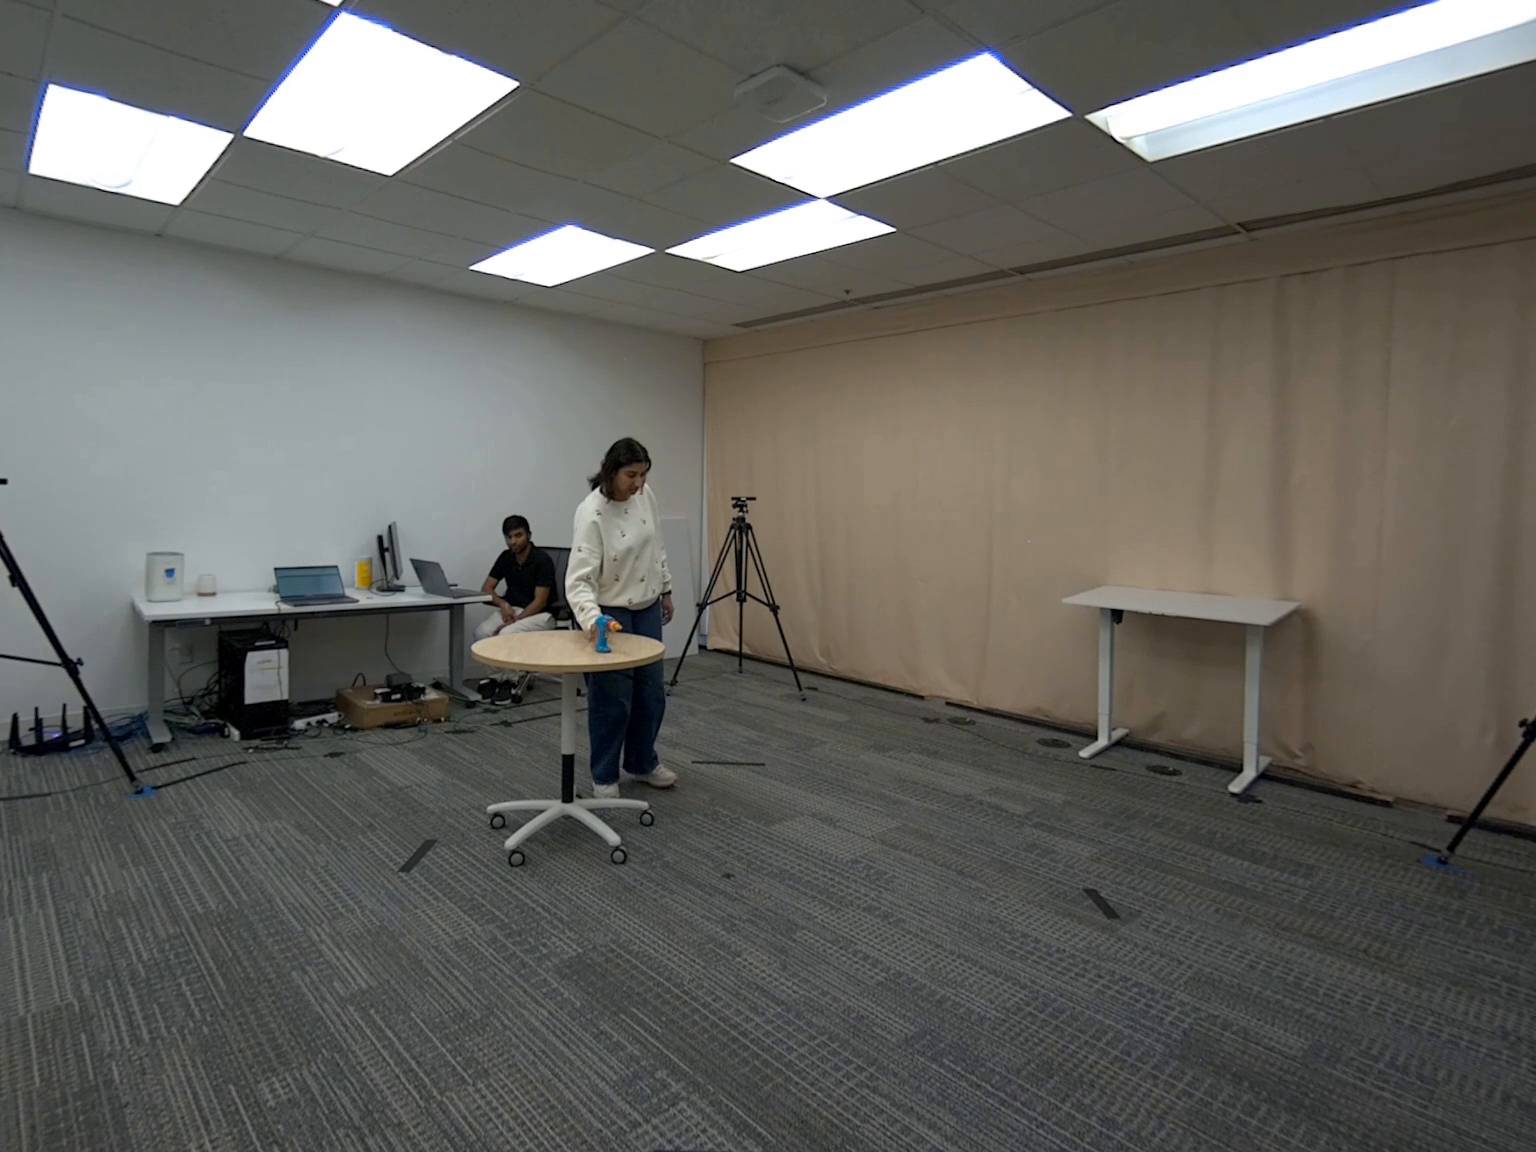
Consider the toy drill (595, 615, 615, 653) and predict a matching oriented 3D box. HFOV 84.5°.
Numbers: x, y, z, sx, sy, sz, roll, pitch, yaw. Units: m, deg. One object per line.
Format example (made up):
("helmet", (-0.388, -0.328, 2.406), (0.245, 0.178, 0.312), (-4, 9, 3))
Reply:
("toy drill", (-0.627, 0.230, 3.266), (0.060, 0.146, 0.174), (-1, 4, -44))
